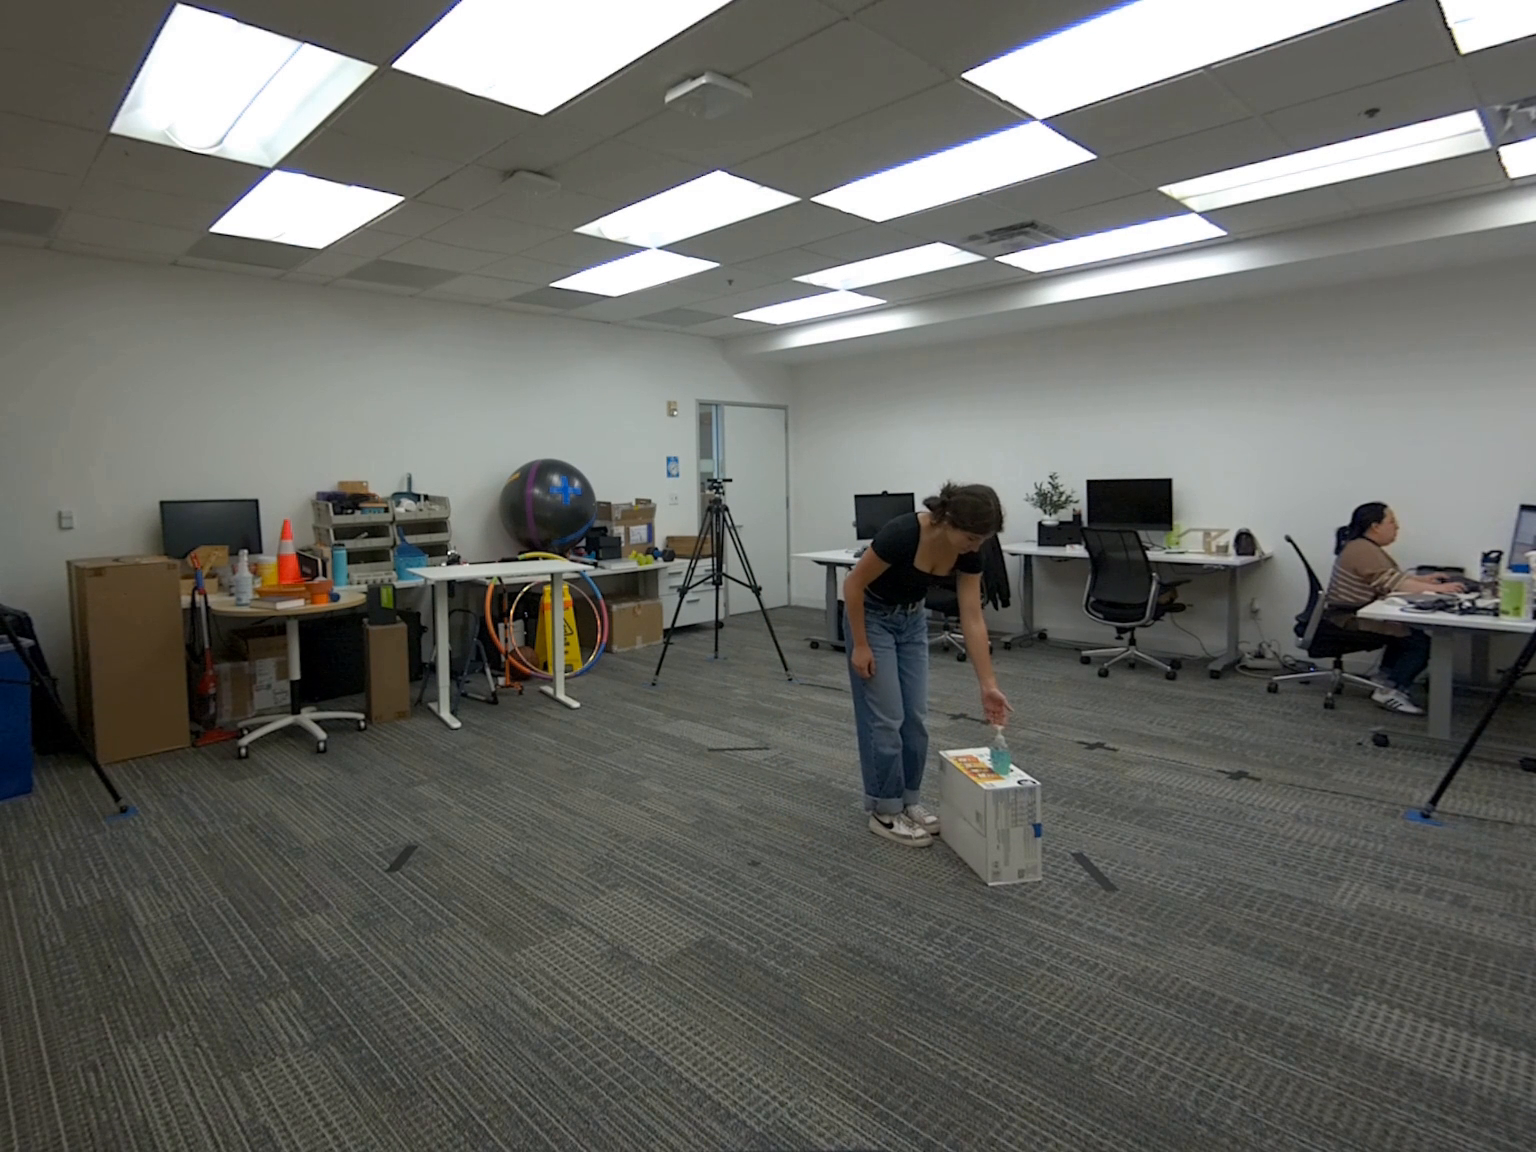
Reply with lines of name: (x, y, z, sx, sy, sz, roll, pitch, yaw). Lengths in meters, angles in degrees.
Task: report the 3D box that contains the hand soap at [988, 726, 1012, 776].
hand soap: (0.823, 0.613, 3.035, 0.042, 0.167, 0.087, -4, 5, -31)
